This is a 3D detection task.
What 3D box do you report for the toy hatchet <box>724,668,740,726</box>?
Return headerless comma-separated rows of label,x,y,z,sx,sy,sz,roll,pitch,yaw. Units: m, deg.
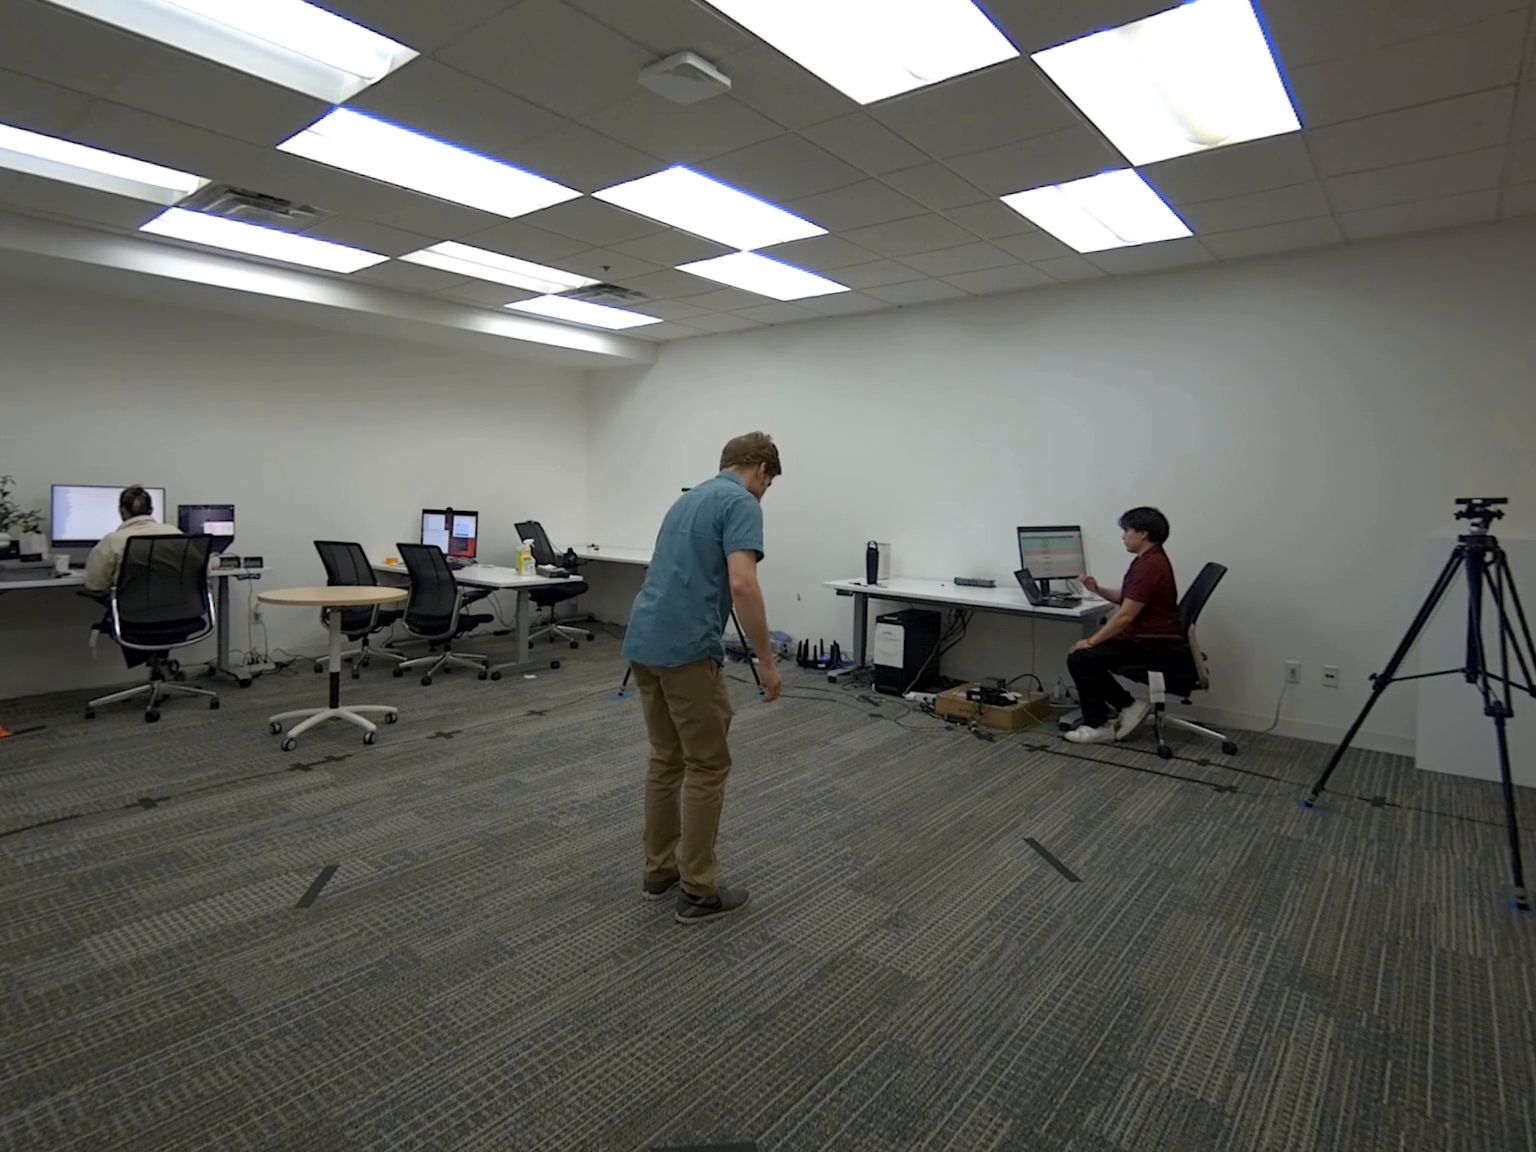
toy hatchet,-0.181,0.434,3.103,0.134,0.263,0.030,21,45,15
